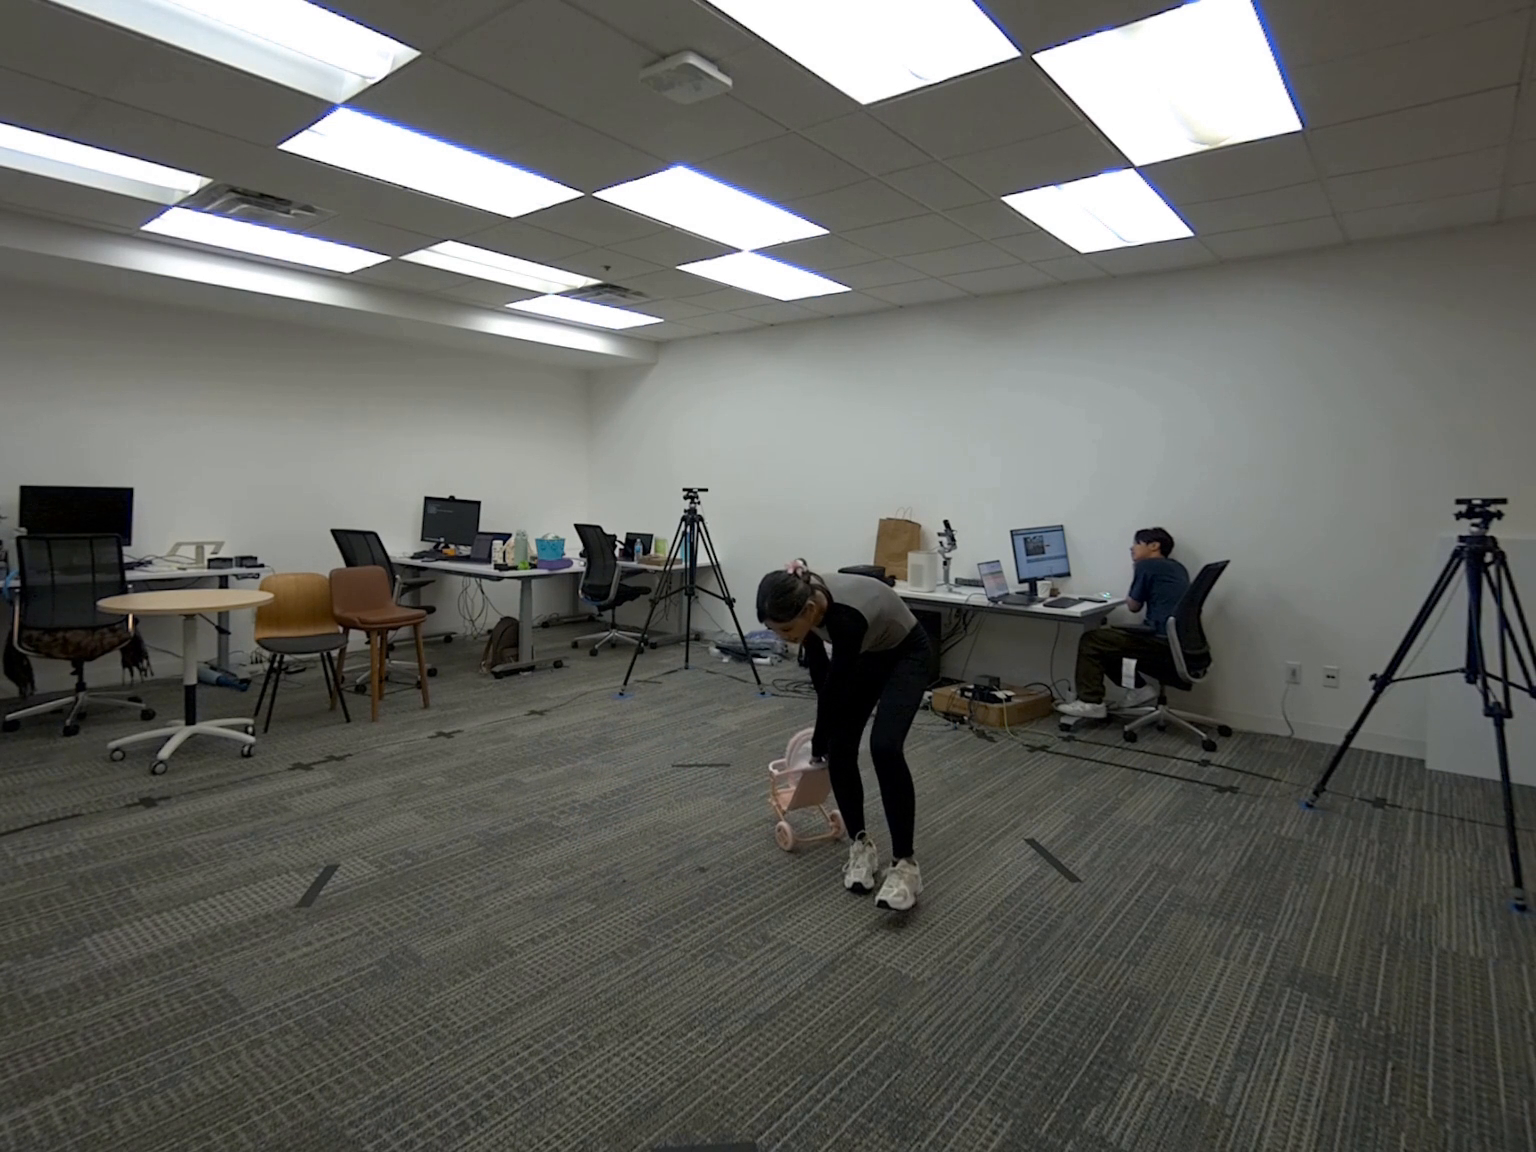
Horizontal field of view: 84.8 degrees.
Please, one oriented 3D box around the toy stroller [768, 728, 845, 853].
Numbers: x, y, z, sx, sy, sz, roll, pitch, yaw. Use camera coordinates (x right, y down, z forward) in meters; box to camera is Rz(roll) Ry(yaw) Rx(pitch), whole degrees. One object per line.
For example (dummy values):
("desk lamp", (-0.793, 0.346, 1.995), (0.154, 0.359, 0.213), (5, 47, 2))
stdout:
("toy stroller", (0.143, 0.821, 3.378), (0.275, 0.525, 0.355), (-2, 27, -23))
